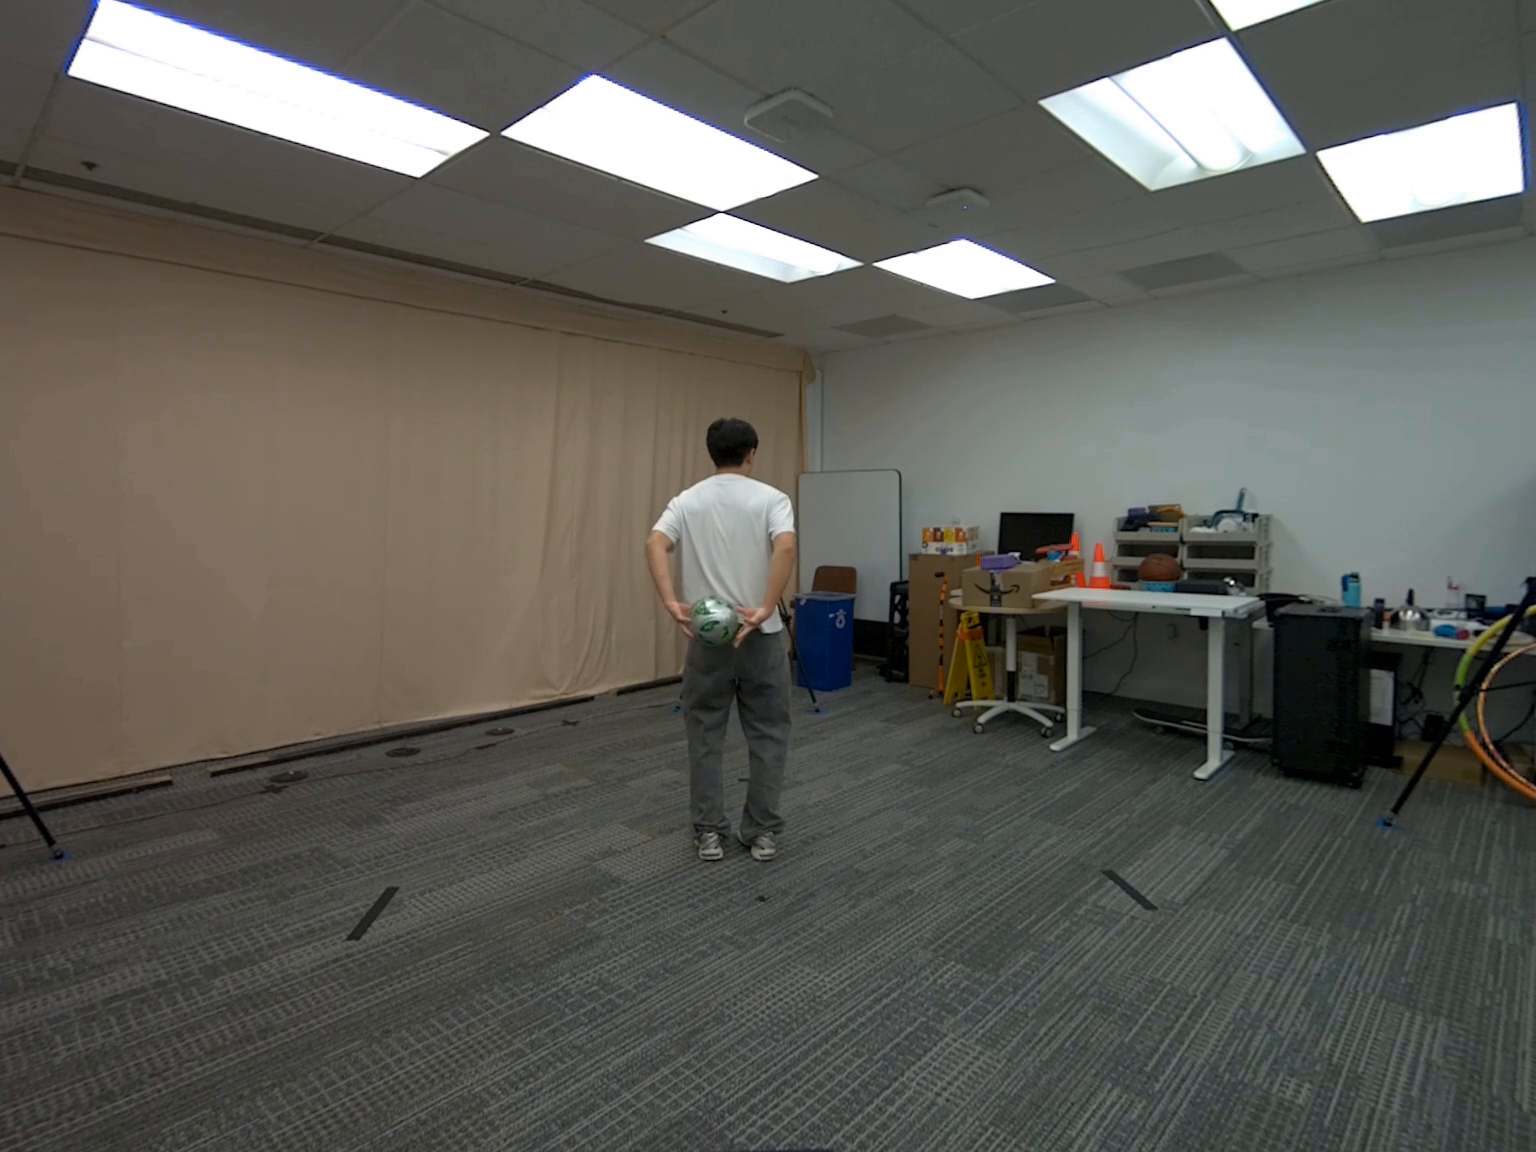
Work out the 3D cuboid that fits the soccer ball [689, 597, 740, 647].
[{"bbox_3d":[-0.199,0.167,3.073,0.187,0.187,0.188,0,4,-2],"label":"soccer ball"}]
